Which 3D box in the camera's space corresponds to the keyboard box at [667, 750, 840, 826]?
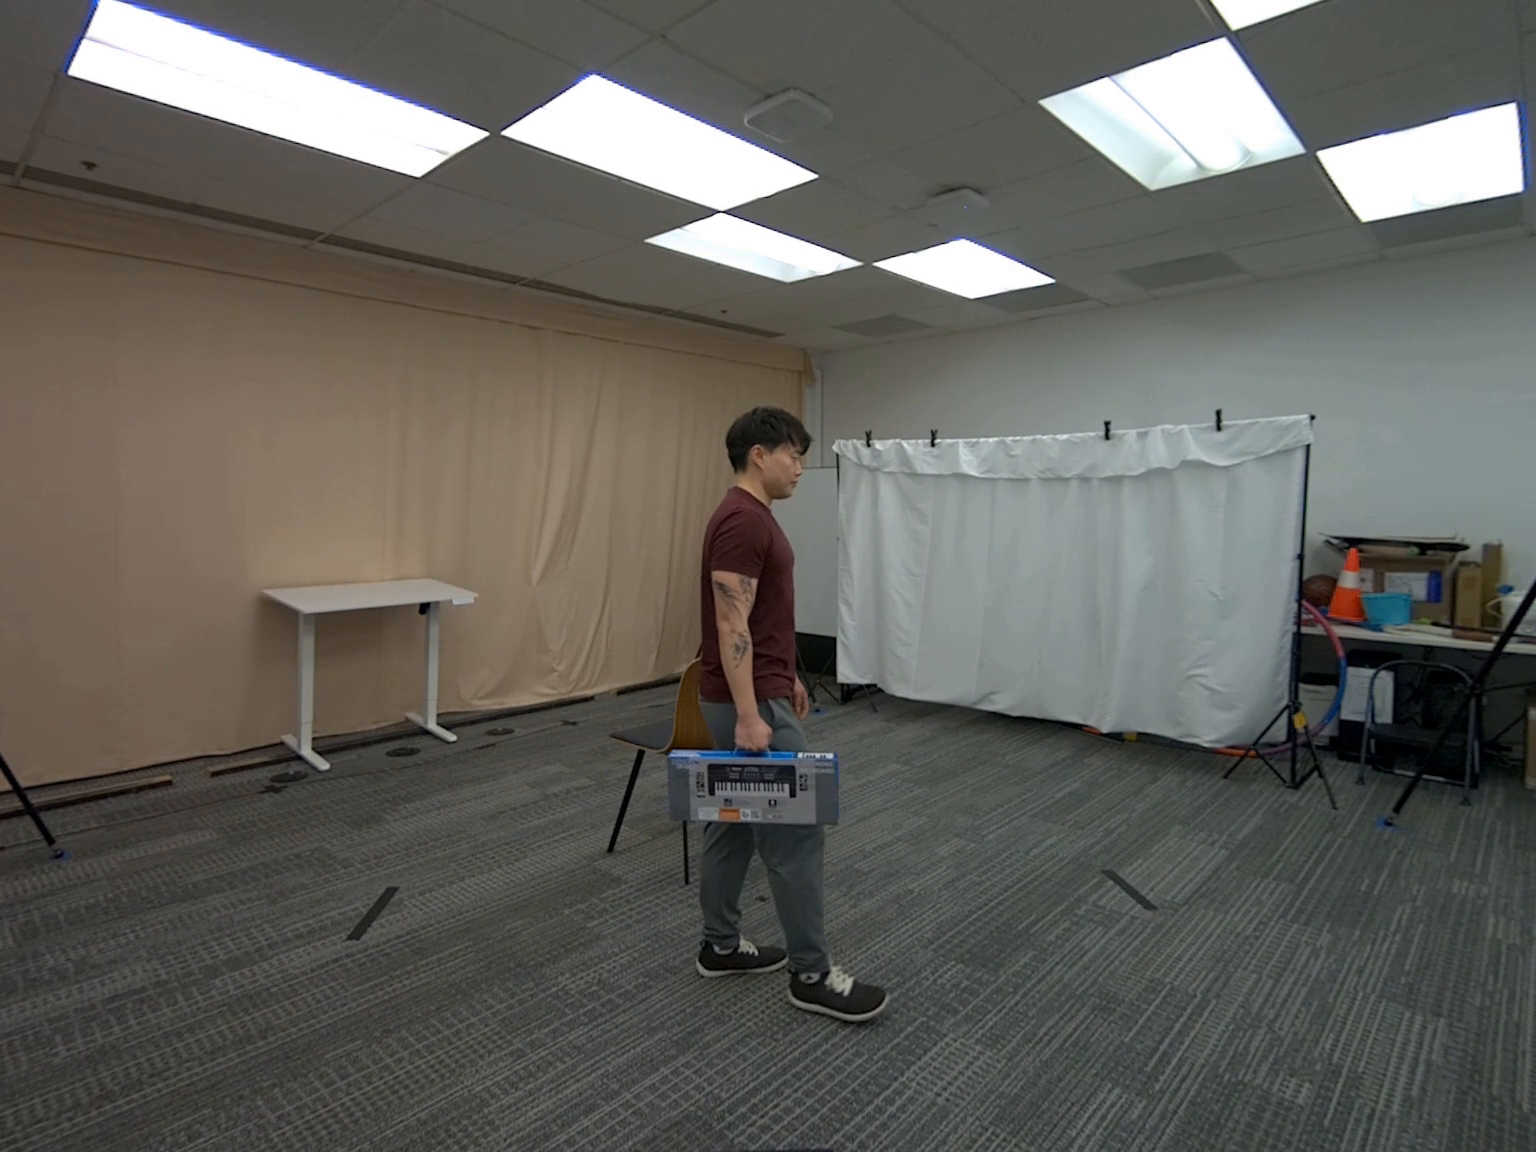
[{"bbox_3d":[-0.036,0.545,2.186,0.442,0.175,0.058,0,4,10],"label":"keyboard box"}]
